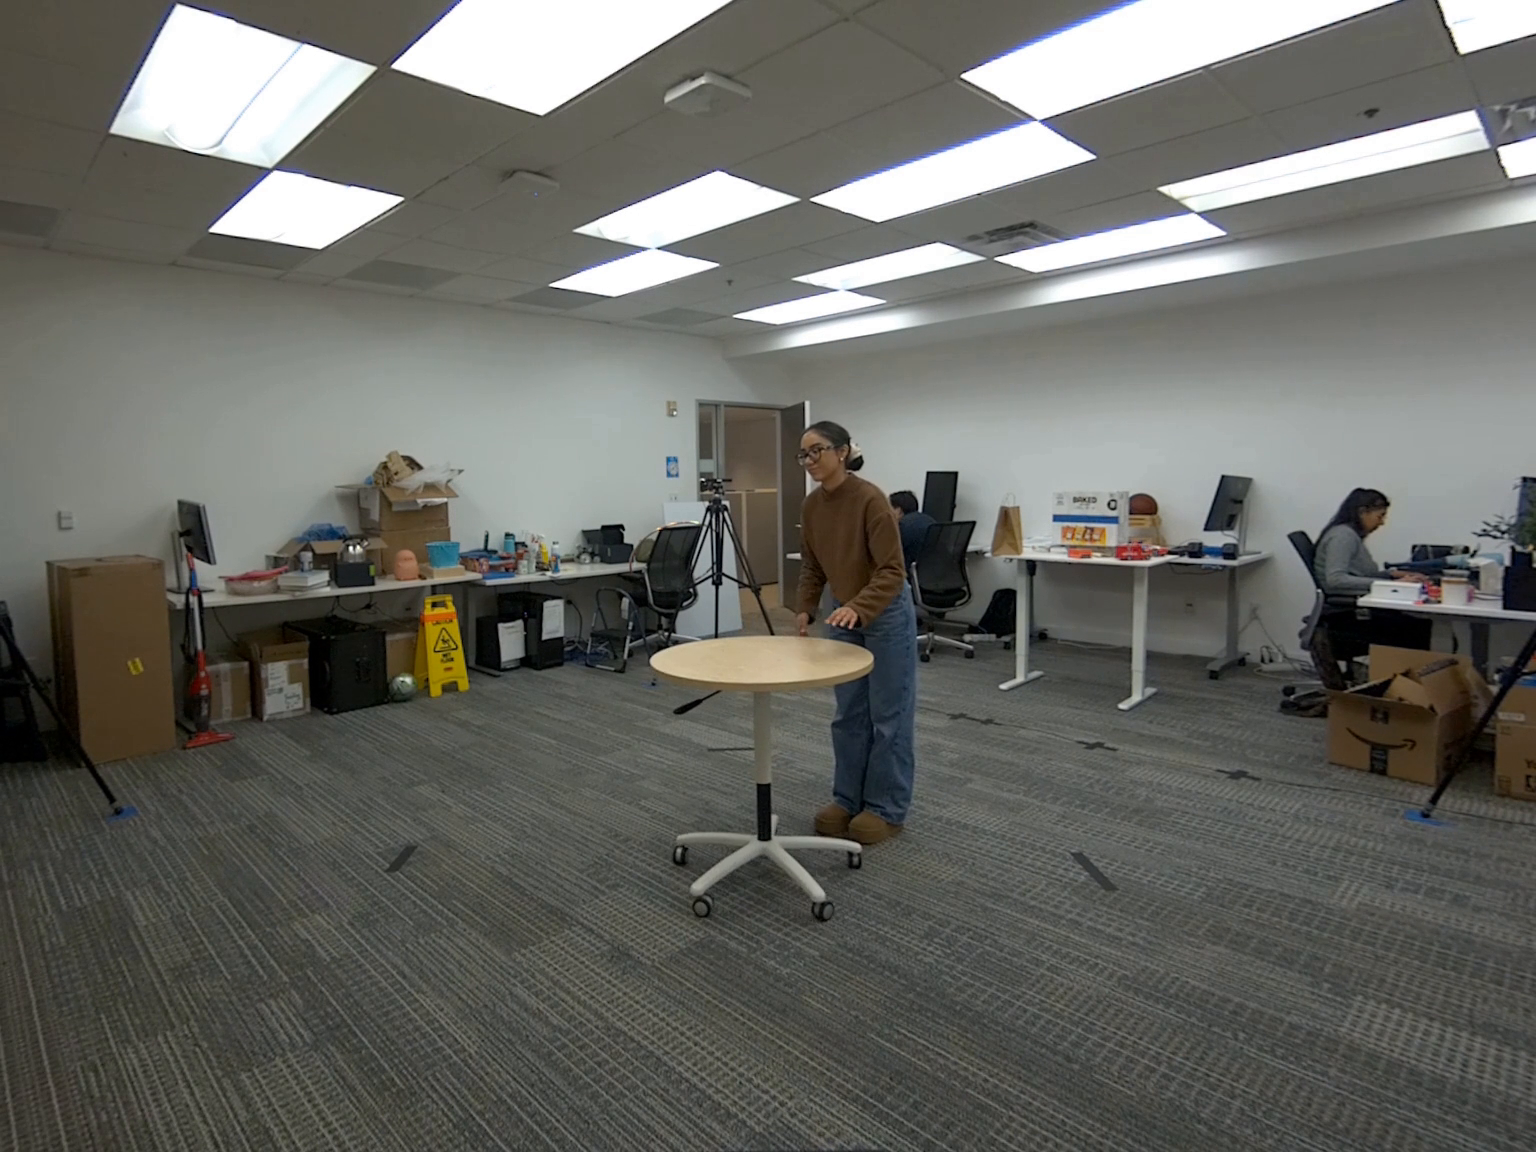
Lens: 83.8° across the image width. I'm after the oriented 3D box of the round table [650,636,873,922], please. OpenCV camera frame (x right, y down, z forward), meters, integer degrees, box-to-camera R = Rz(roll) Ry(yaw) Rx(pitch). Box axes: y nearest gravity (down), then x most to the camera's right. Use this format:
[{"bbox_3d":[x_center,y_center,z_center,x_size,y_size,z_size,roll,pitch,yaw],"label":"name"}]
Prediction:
[{"bbox_3d":[-0.011,0.669,2.970,0.763,0.791,0.768,-1,5,-2],"label":"round table"}]
